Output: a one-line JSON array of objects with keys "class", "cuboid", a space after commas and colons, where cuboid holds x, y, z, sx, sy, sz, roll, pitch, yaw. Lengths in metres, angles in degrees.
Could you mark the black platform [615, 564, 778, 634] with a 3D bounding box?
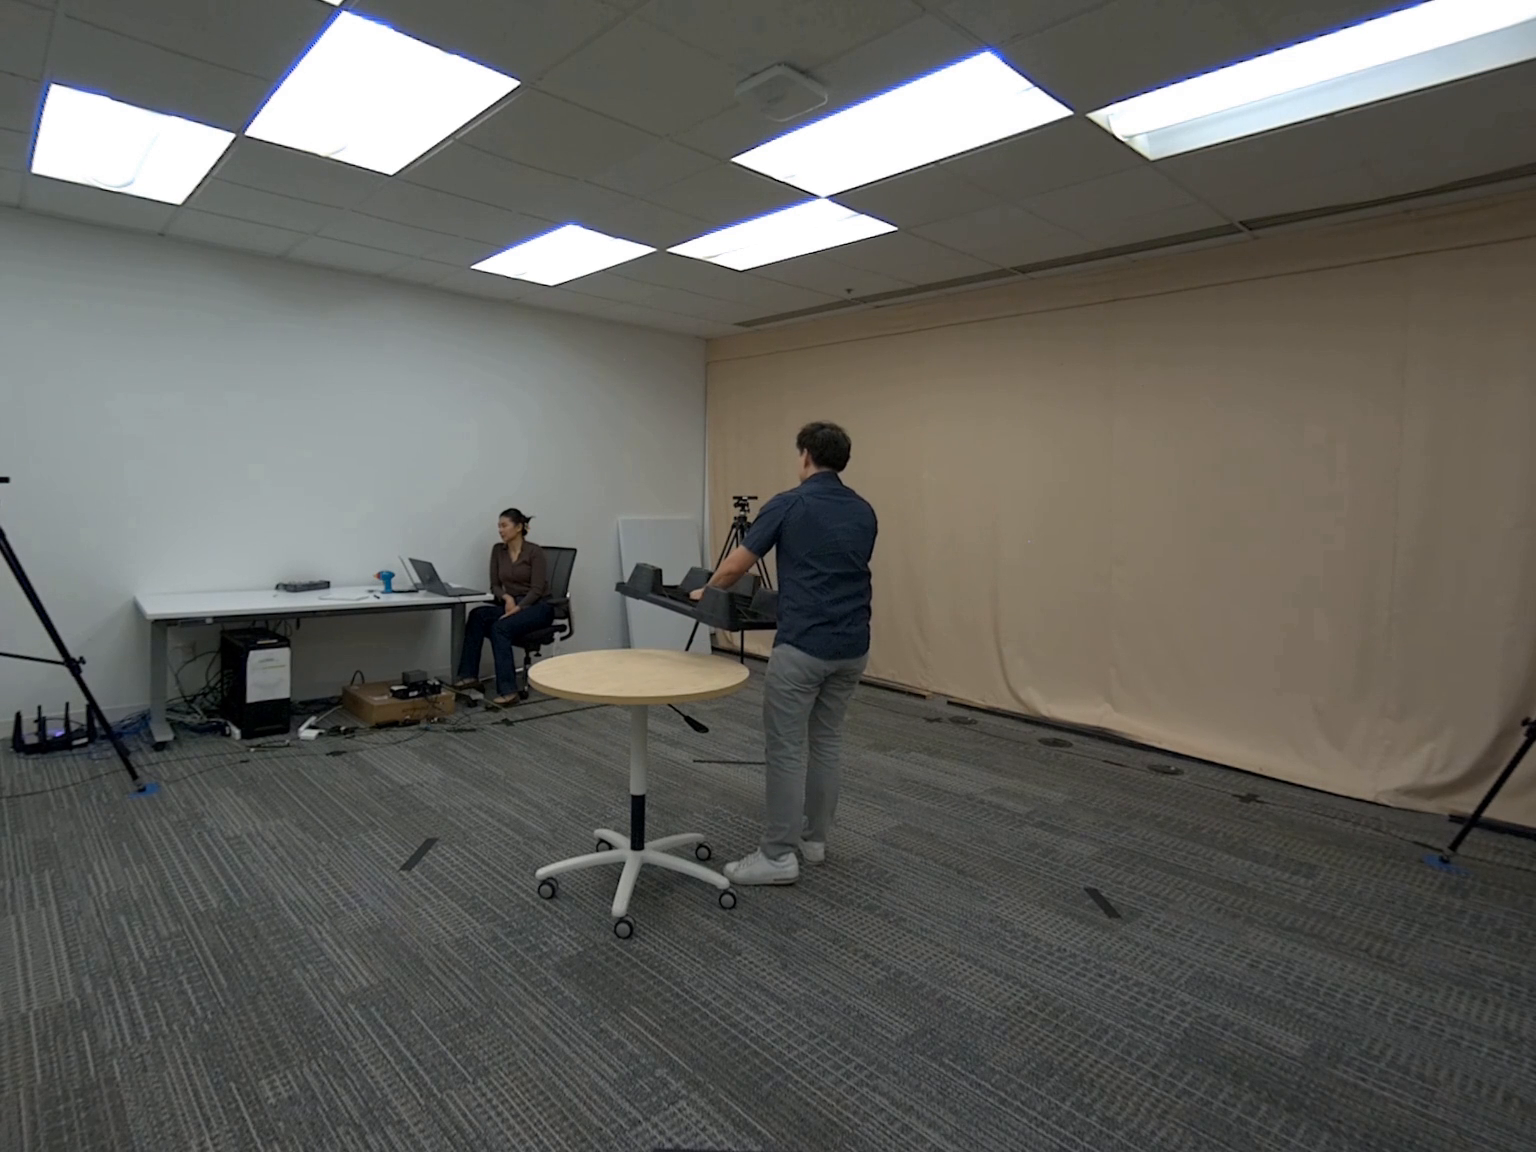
[{"class": "black platform", "cuboid": [-0.155, 0.086, 3.506, 0.622, 0.143, 0.786, 17, 8, 35]}]
